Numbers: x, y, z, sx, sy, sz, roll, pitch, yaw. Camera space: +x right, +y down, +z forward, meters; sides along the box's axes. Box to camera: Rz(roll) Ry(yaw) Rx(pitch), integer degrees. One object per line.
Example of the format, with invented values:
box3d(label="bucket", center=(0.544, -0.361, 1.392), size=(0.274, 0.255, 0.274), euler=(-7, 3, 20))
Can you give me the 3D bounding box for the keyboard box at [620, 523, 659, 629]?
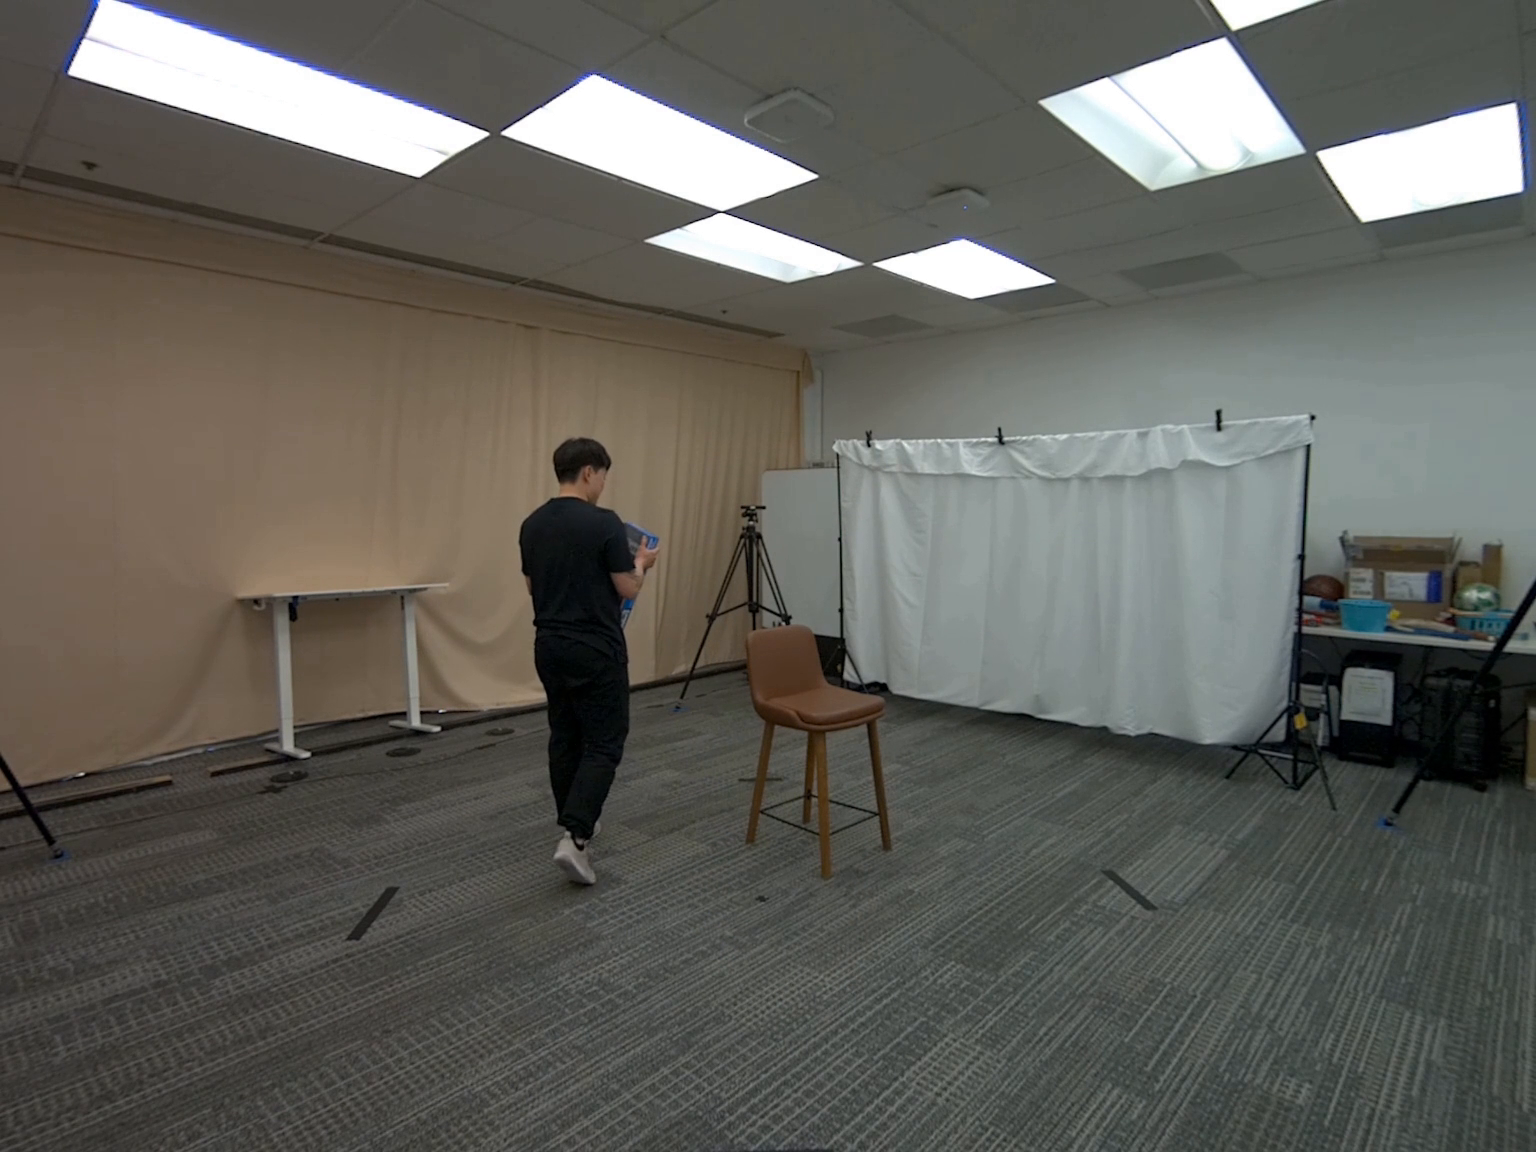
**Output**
box3d(label="keyboard box", center=(-0.623, 0.005, 3.596), size=(0.182, 0.436, 0.057), euler=(29, 11, 37))
